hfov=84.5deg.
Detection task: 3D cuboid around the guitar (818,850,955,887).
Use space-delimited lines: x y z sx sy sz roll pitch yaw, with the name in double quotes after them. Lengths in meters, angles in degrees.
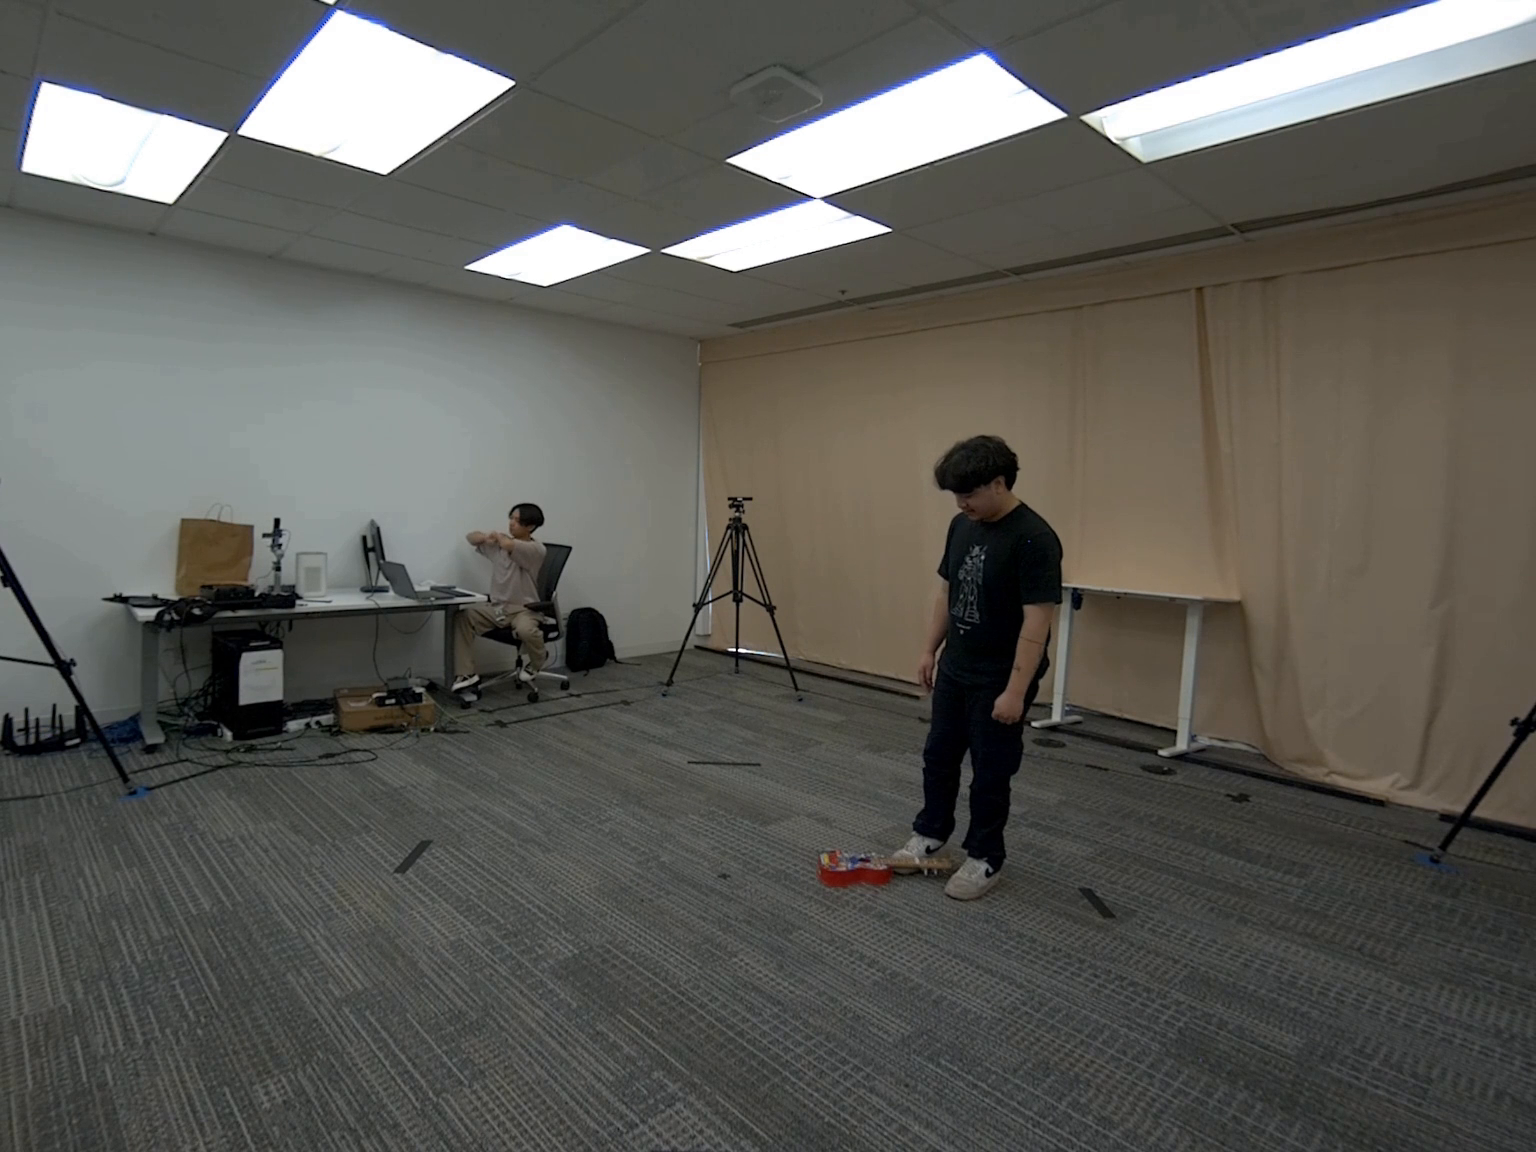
0.418 1.083 3.097 0.502 0.070 0.192 2 4 9 "guitar"
